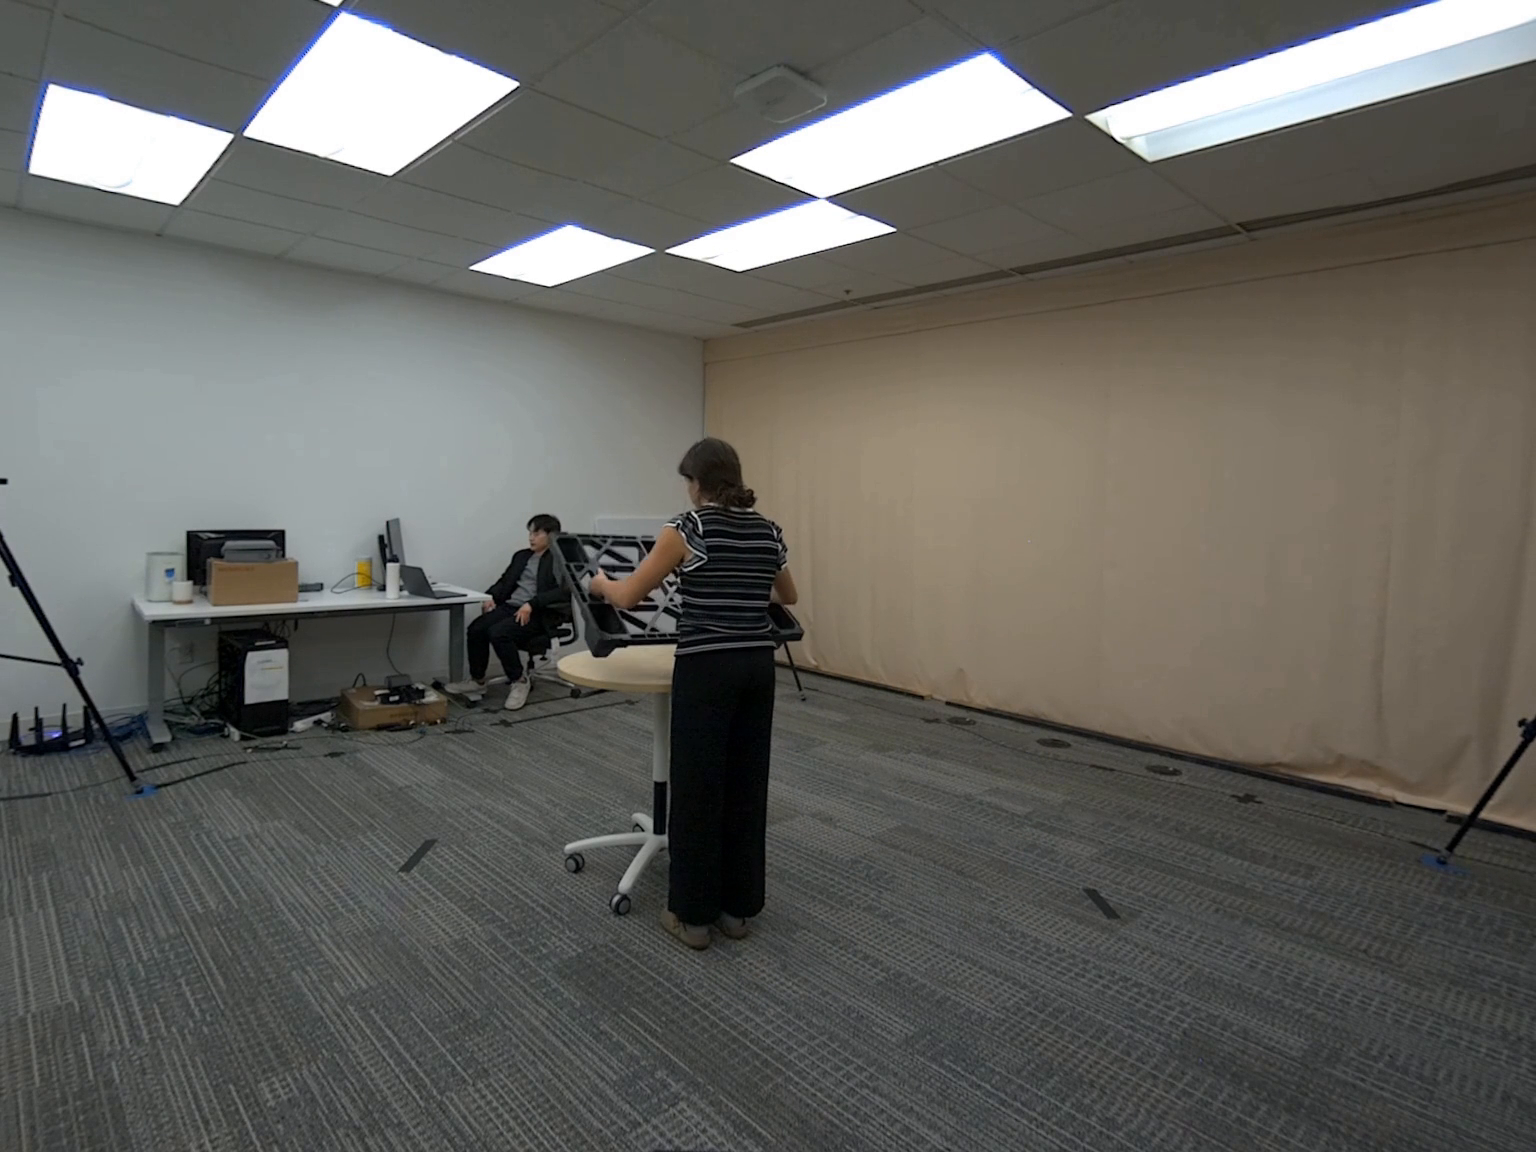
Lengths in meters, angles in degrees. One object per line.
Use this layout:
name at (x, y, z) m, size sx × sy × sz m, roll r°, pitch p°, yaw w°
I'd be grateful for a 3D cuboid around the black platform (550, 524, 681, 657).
black platform at (-0.354, 0.075, 3.036) m, size 0.788 × 0.142 × 0.625 m, roll 1°, pitch 34°, yaw -32°
